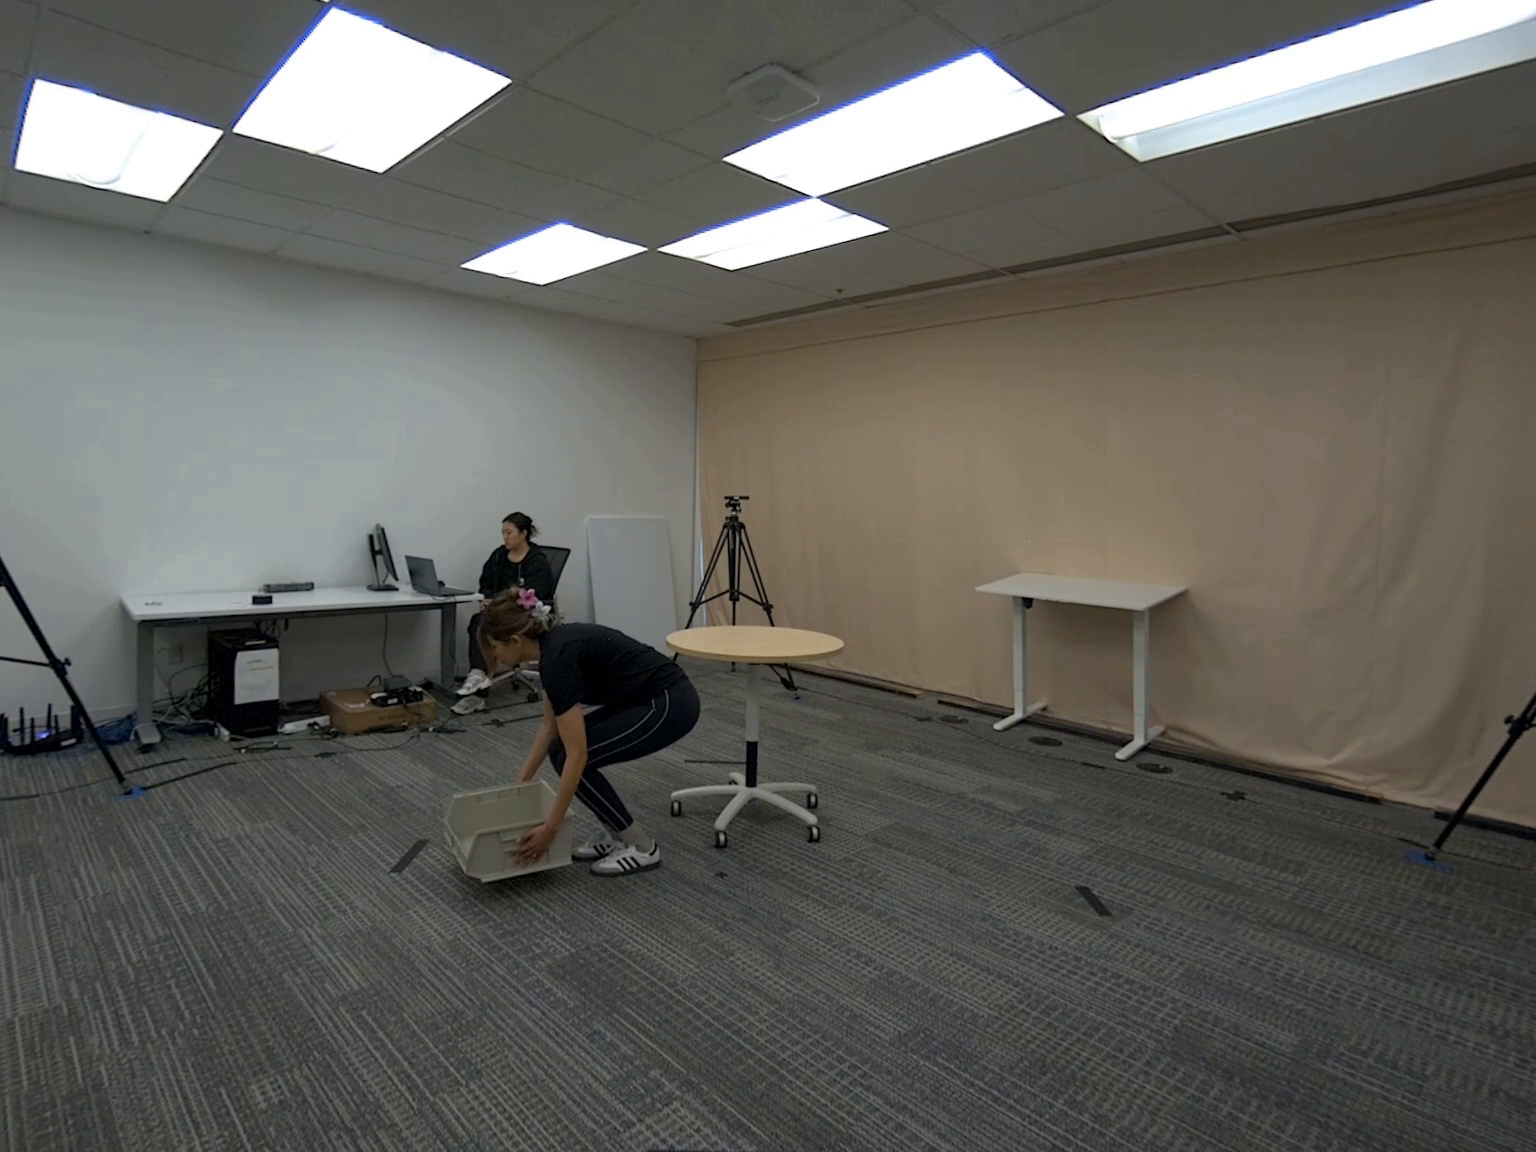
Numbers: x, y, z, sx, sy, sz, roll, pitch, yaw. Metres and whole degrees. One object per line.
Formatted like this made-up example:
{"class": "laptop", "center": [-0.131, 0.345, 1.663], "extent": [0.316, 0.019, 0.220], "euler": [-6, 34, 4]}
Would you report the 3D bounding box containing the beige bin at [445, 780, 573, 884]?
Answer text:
{"class": "beige bin", "center": [-0.950, 0.906, 3.047], "extent": [0.370, 0.188, 0.432], "euler": [-2, 5, -30]}
